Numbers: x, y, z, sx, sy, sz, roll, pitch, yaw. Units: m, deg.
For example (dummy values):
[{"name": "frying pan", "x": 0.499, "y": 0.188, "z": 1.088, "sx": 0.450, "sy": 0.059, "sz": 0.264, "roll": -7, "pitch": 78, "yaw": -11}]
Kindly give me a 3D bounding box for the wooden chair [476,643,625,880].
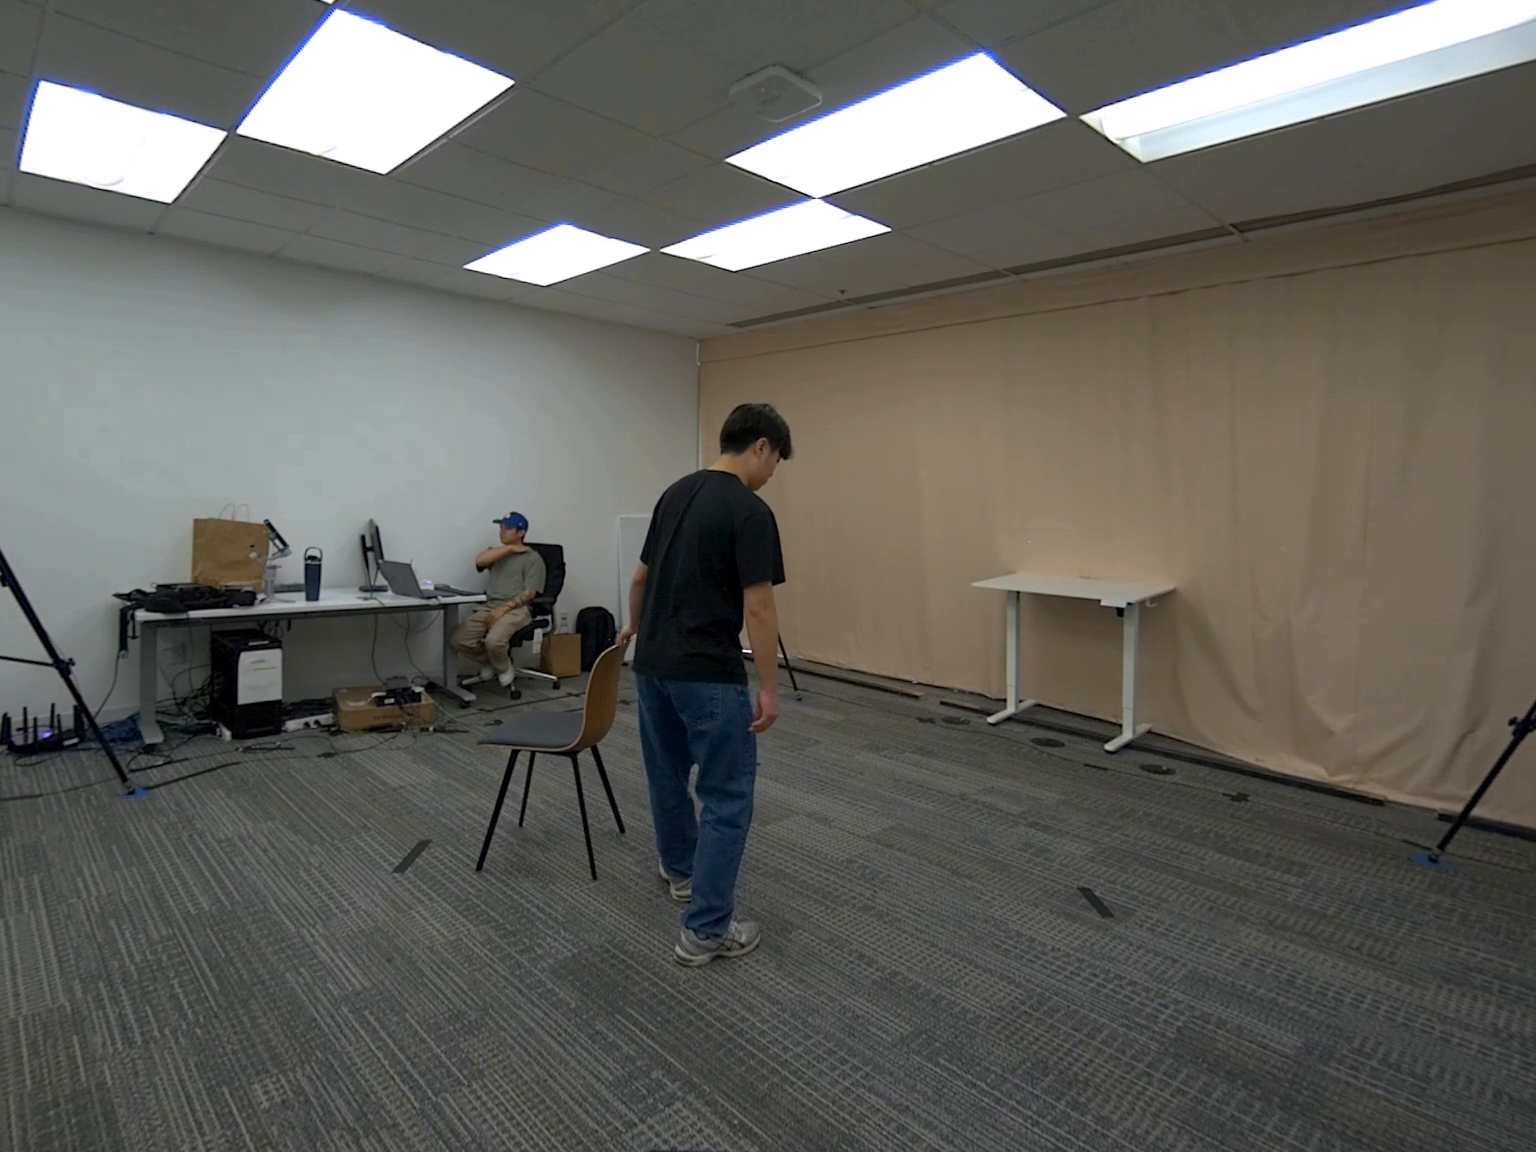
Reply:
[{"name": "wooden chair", "x": -0.833, "y": 0.649, "z": 3.249, "sx": 0.525, "sy": 0.875, "sz": 0.477, "roll": 6, "pitch": 4, "yaw": 4}]
